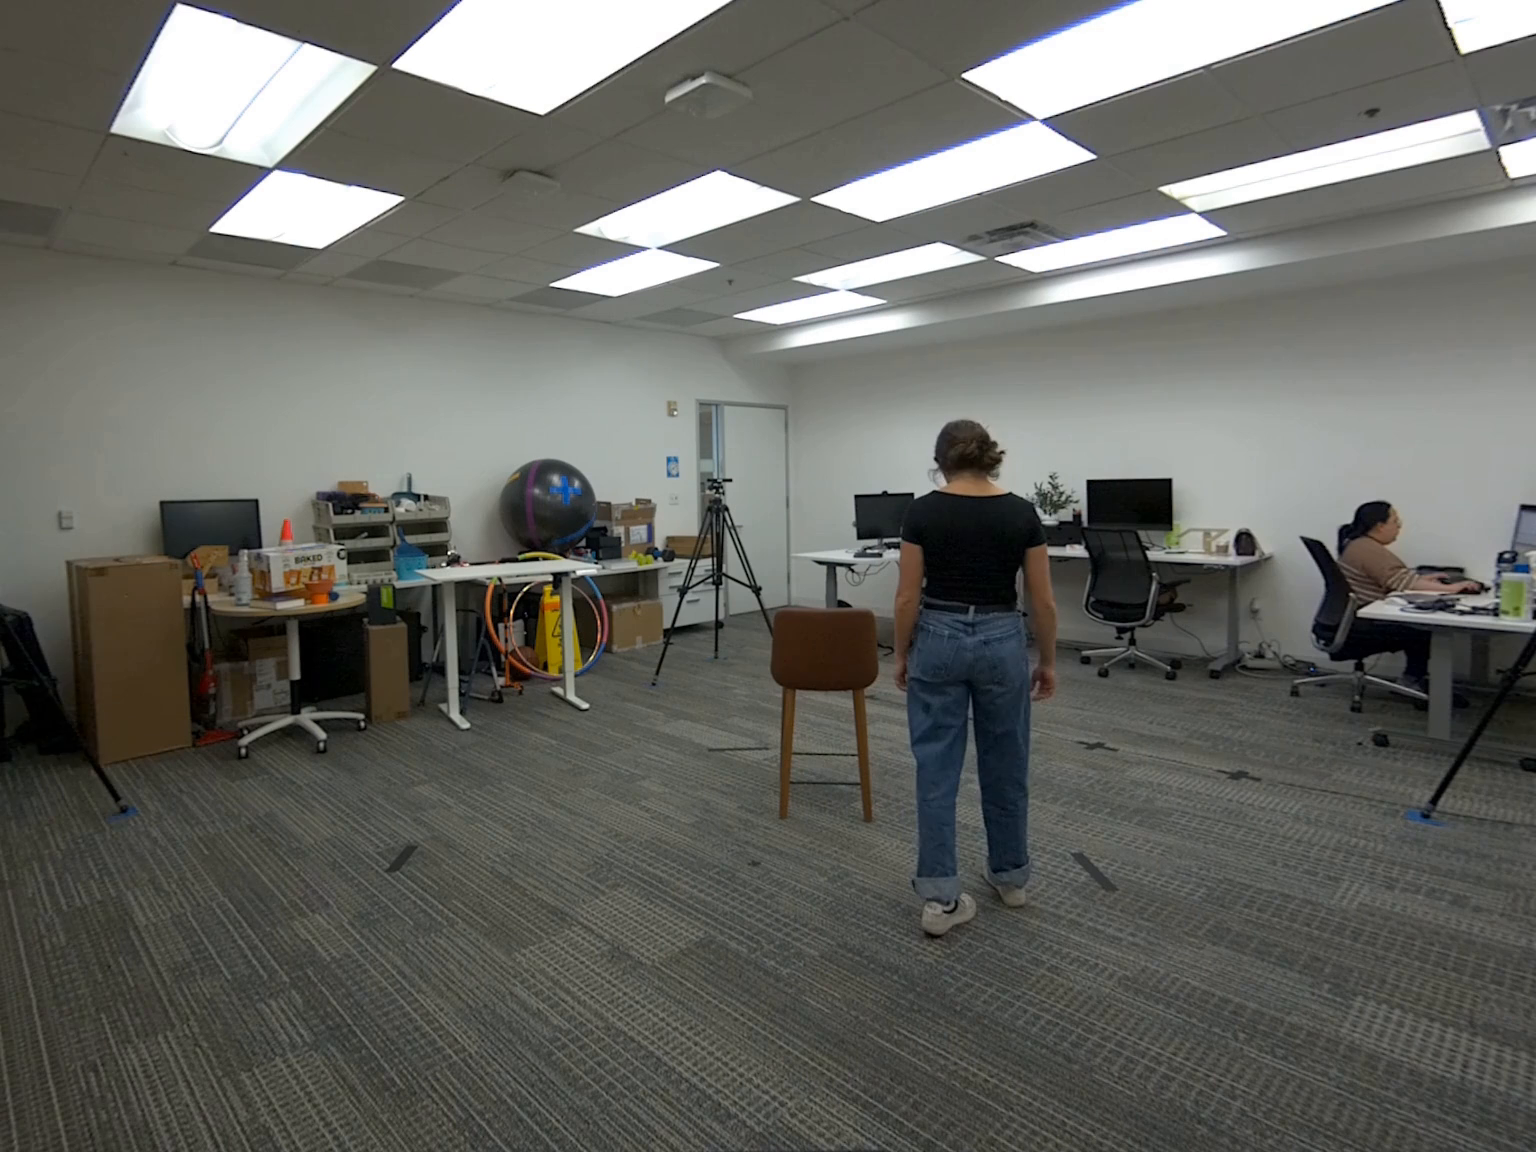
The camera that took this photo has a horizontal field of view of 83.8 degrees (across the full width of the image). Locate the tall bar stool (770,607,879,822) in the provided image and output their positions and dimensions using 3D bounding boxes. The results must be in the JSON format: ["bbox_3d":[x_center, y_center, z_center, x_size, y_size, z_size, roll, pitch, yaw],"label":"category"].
[{"bbox_3d":[0.245,0.543,3.679,0.460,0.886,0.467,0,5,6],"label":"tall bar stool"}]
